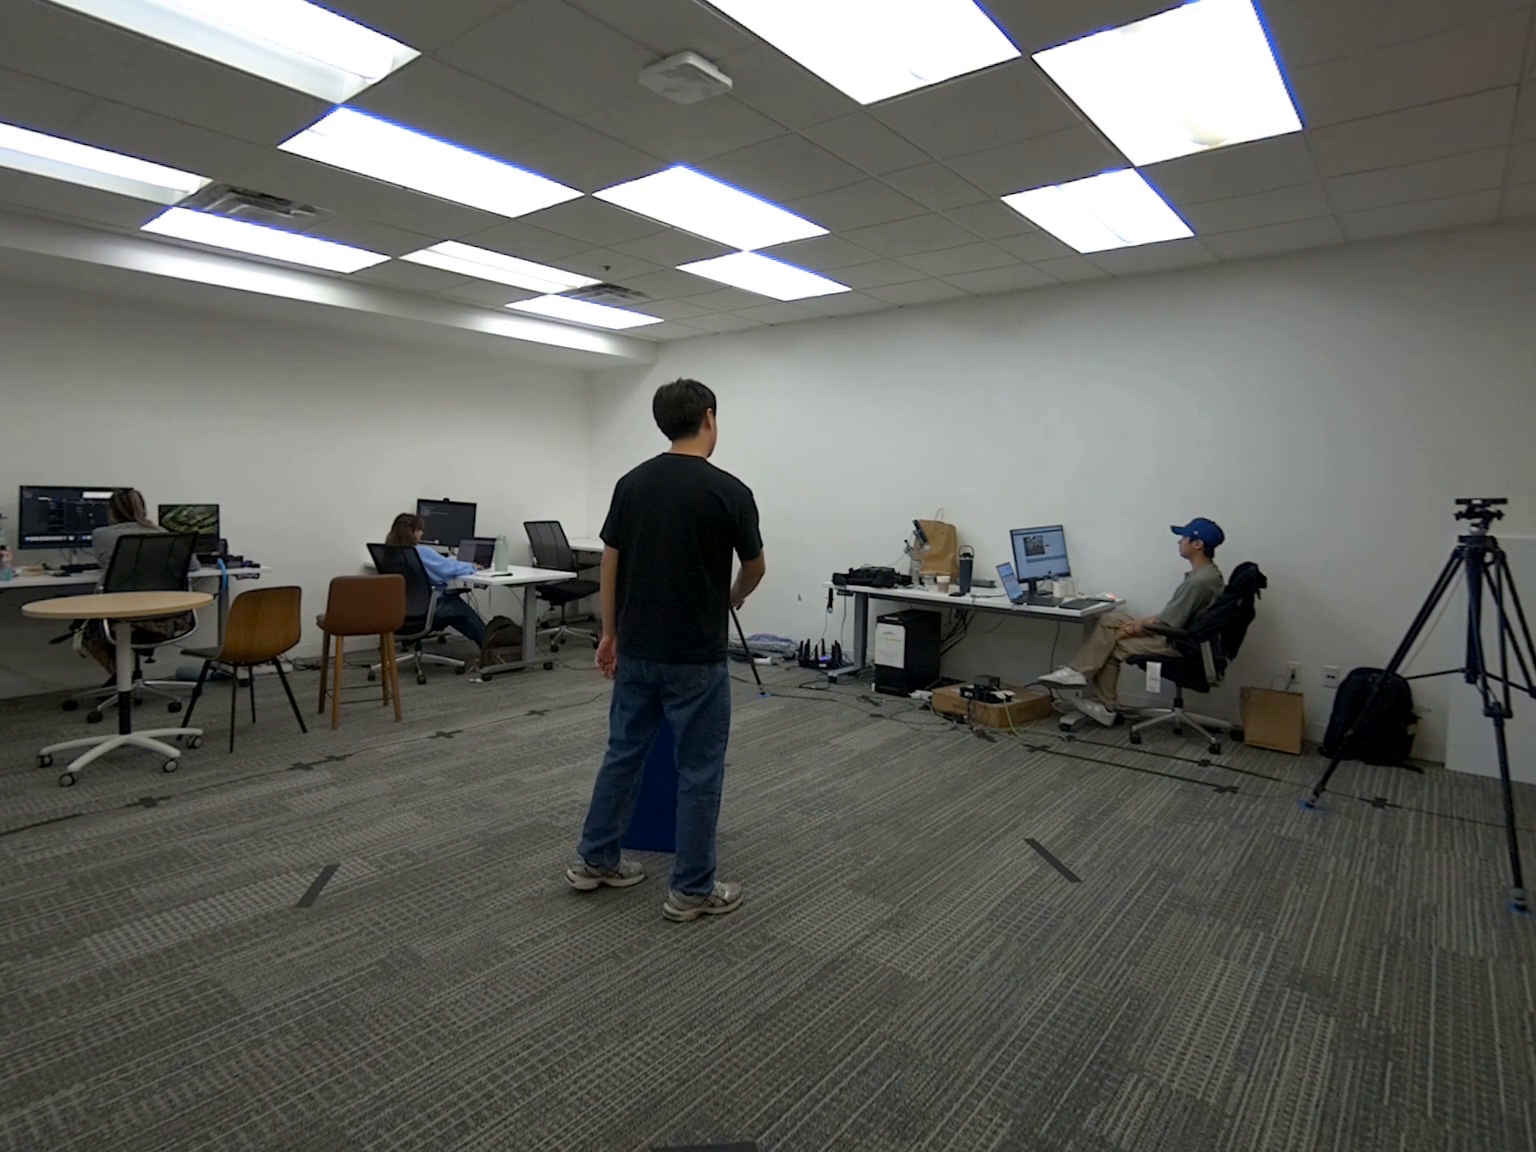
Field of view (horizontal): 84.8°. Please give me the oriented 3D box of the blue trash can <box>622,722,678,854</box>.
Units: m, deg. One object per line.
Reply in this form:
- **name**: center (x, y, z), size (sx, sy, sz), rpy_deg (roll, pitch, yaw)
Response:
- **blue trash can**: center (-0.421, 0.677, 3.385), size (0.382, 0.710, 0.372), rpy_deg (2, 5, 7)
